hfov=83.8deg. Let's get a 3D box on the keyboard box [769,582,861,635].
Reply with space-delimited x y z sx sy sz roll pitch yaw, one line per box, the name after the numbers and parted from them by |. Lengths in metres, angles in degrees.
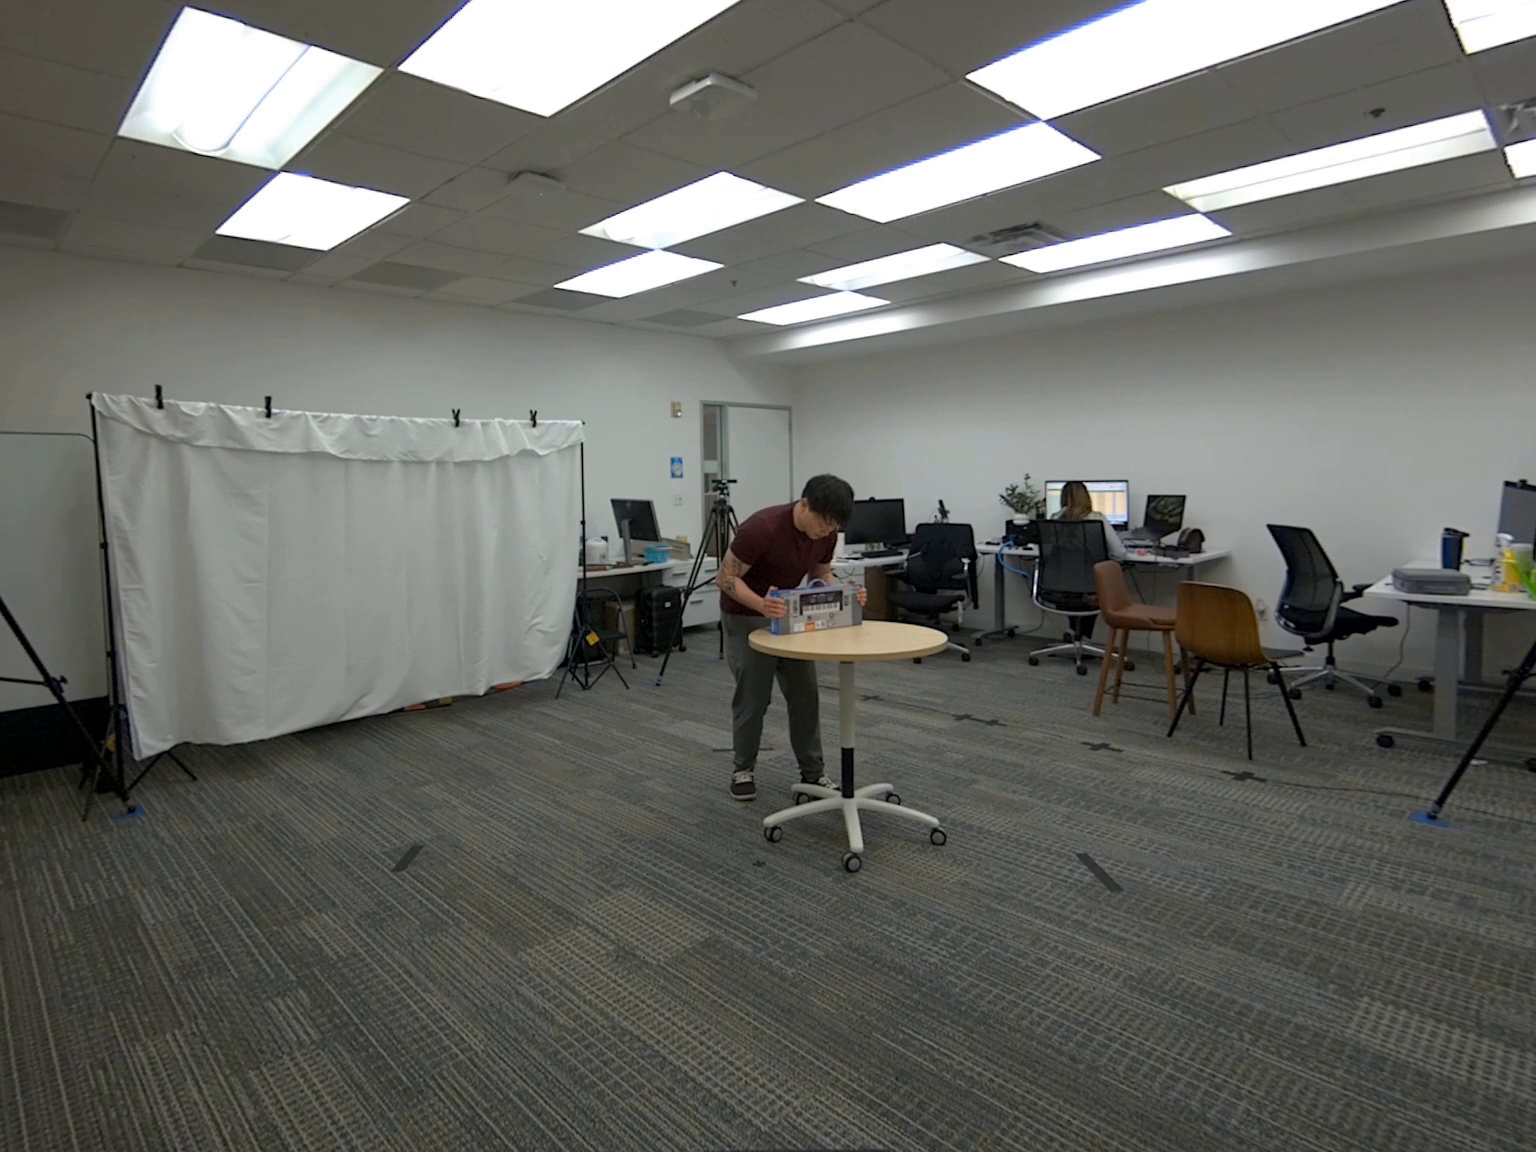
0.197 0.138 3.502 0.426 0.175 0.061 -5 7 -33 | keyboard box
